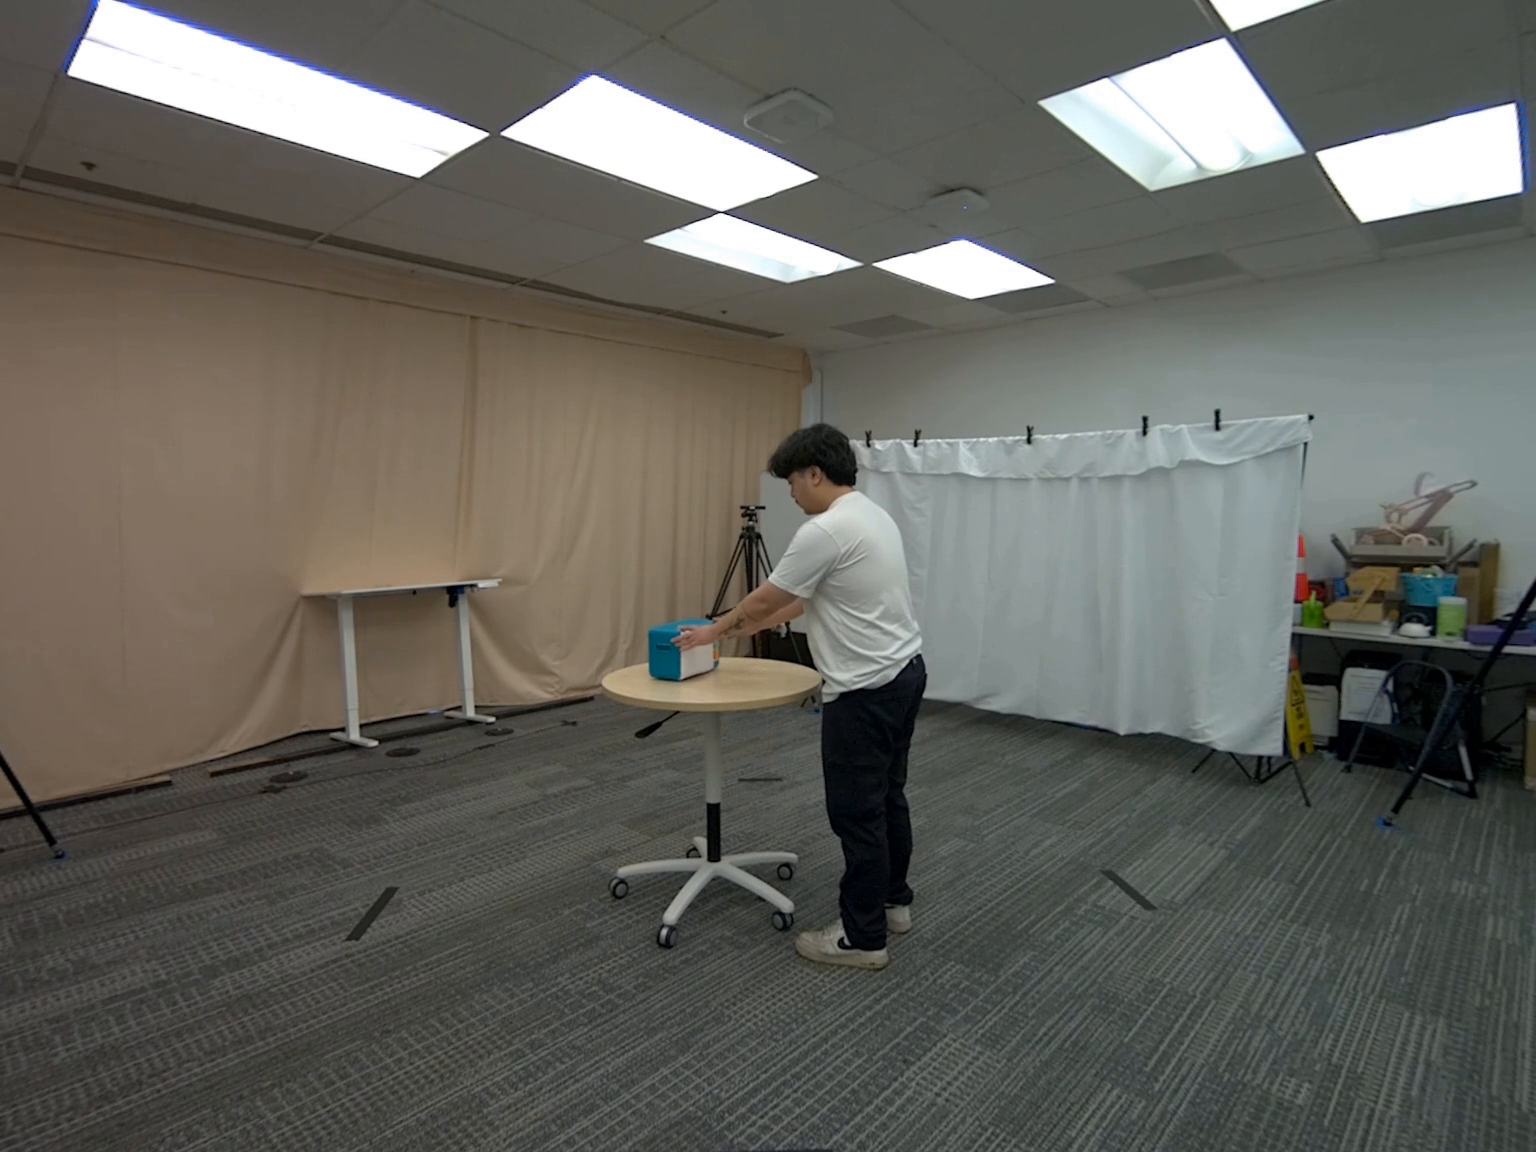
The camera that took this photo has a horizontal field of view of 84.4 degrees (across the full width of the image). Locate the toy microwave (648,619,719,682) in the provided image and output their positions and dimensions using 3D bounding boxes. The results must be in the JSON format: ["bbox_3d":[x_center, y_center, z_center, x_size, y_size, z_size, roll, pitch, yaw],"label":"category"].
[{"bbox_3d":[-0.288,0.260,3.000,0.156,0.184,0.279,1,5,28],"label":"toy microwave"}]
